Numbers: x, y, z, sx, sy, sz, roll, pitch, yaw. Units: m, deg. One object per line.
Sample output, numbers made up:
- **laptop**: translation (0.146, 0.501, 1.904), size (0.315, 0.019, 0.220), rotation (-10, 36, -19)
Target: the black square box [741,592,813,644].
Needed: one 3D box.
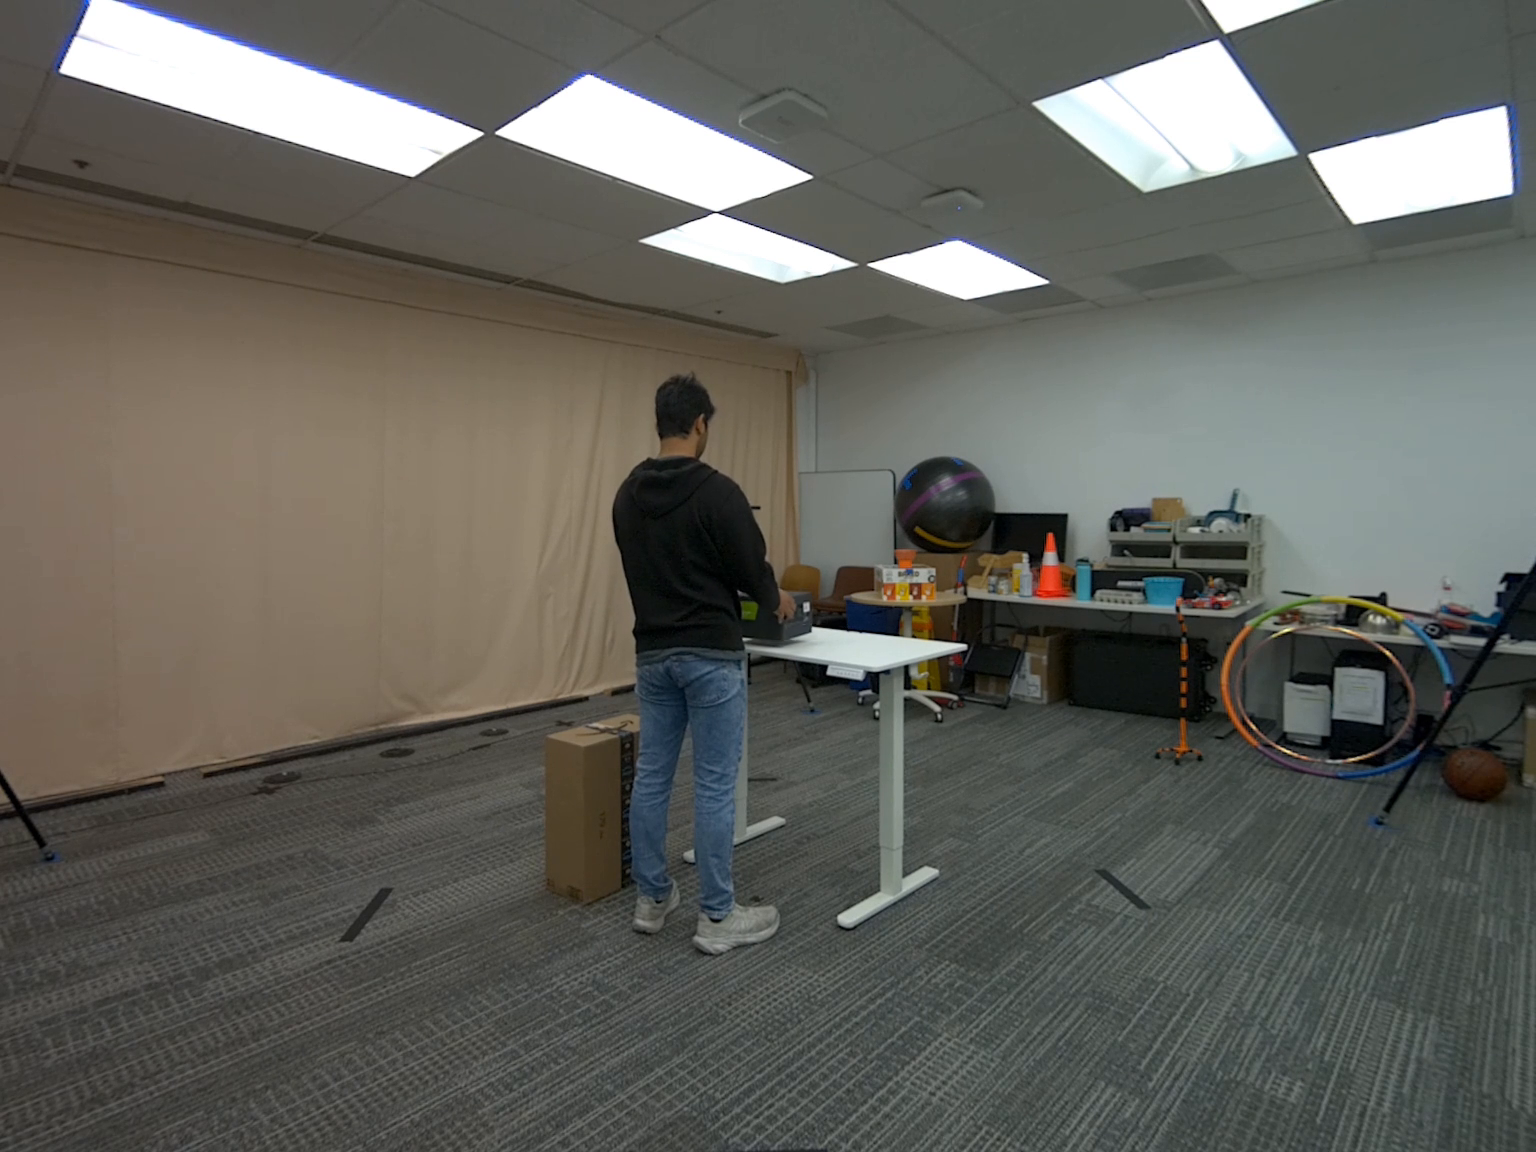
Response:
- **black square box**: translation (0.011, 0.140, 3.152), size (0.235, 0.155, 0.211), rotation (2, 6, 34)
